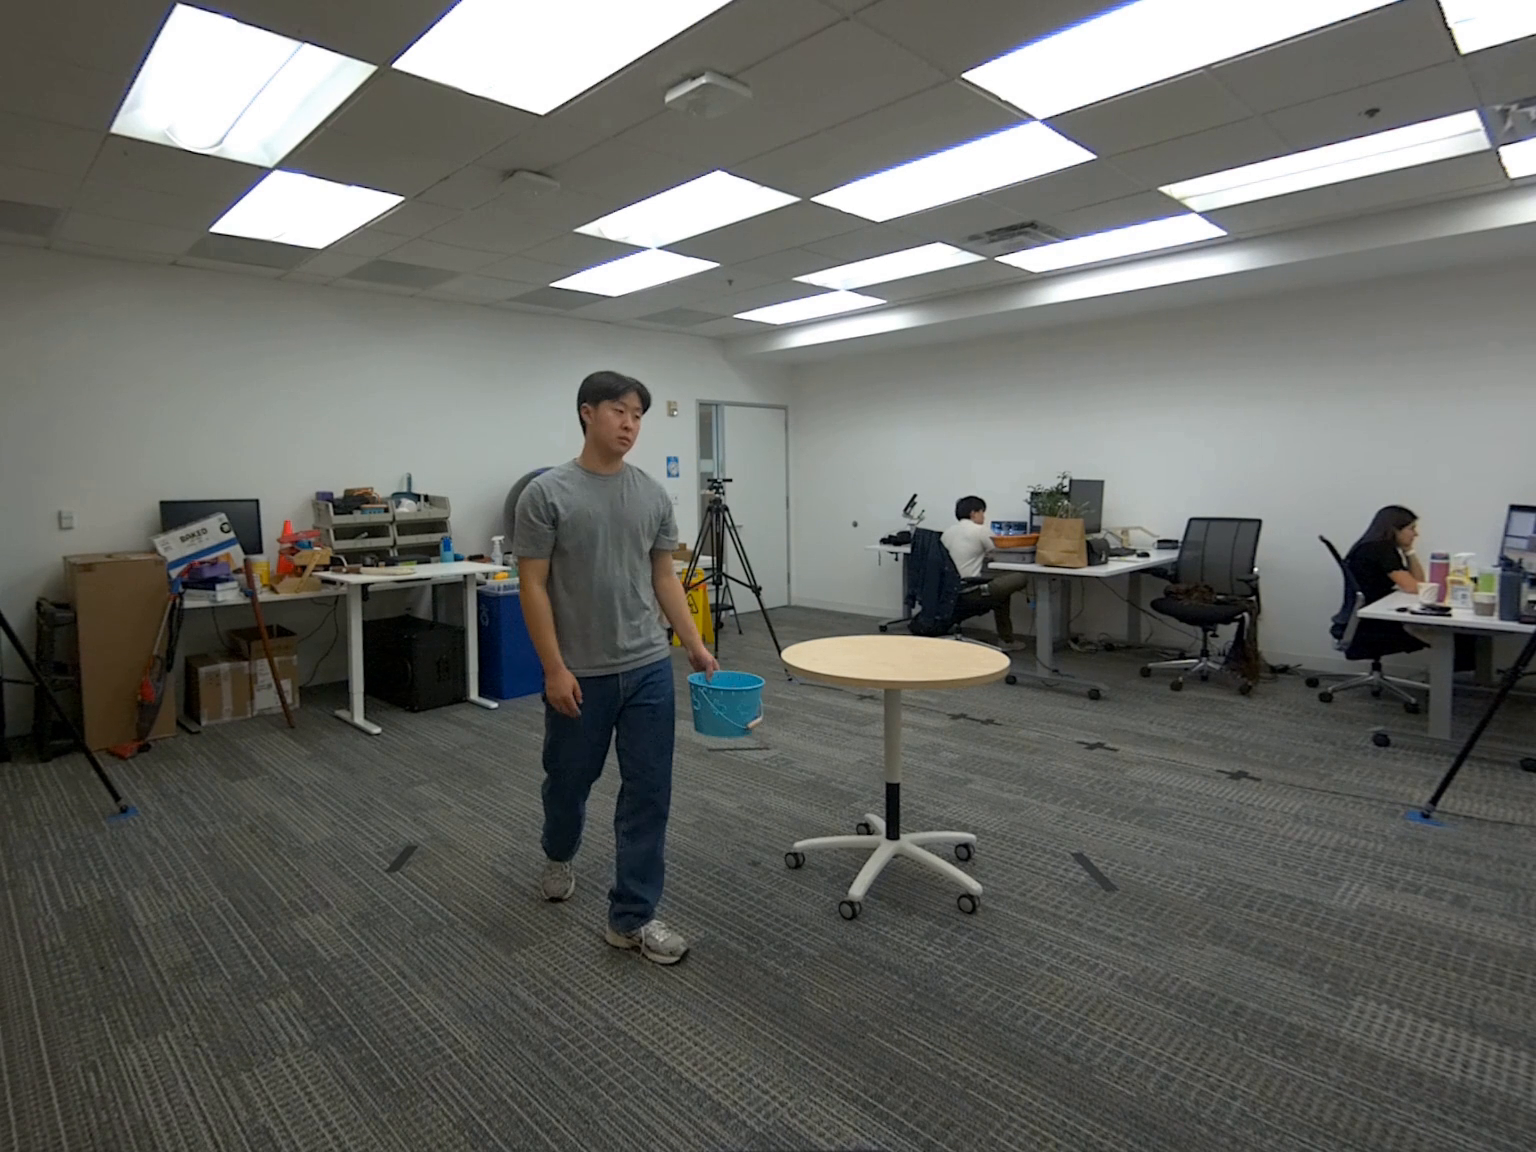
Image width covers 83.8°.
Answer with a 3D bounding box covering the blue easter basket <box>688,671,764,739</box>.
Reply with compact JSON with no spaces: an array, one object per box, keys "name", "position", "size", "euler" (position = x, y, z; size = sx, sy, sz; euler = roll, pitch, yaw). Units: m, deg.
[{"name":"blue easter basket","position":[-0.133,0.382,2.540],"size":[0.243,0.155,0.244],"euler":[0,4,-2]}]
